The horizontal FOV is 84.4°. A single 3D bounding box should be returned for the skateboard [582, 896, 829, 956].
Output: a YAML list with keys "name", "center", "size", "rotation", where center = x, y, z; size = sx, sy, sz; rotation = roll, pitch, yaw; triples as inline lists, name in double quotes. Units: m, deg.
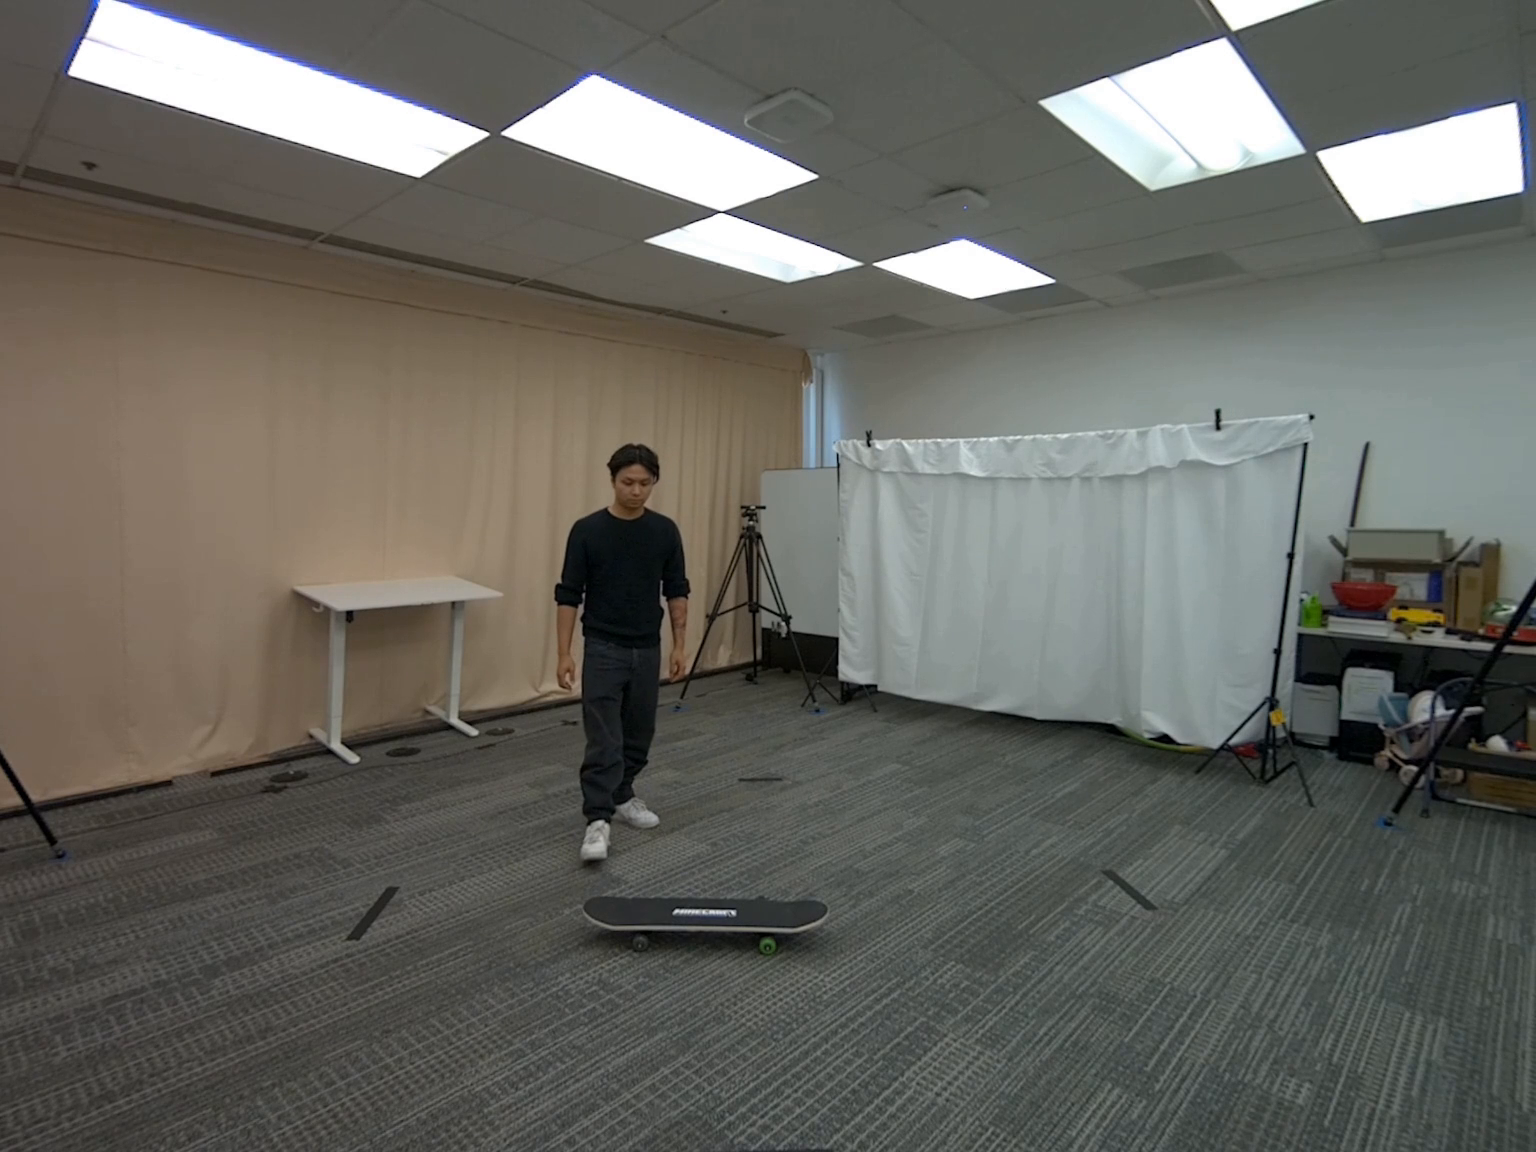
- name: "skateboard"
  center: [-0.198, 1.113, 2.696]
  size: [0.787, 0.110, 0.193]
  rotation: [0, 5, 2]
